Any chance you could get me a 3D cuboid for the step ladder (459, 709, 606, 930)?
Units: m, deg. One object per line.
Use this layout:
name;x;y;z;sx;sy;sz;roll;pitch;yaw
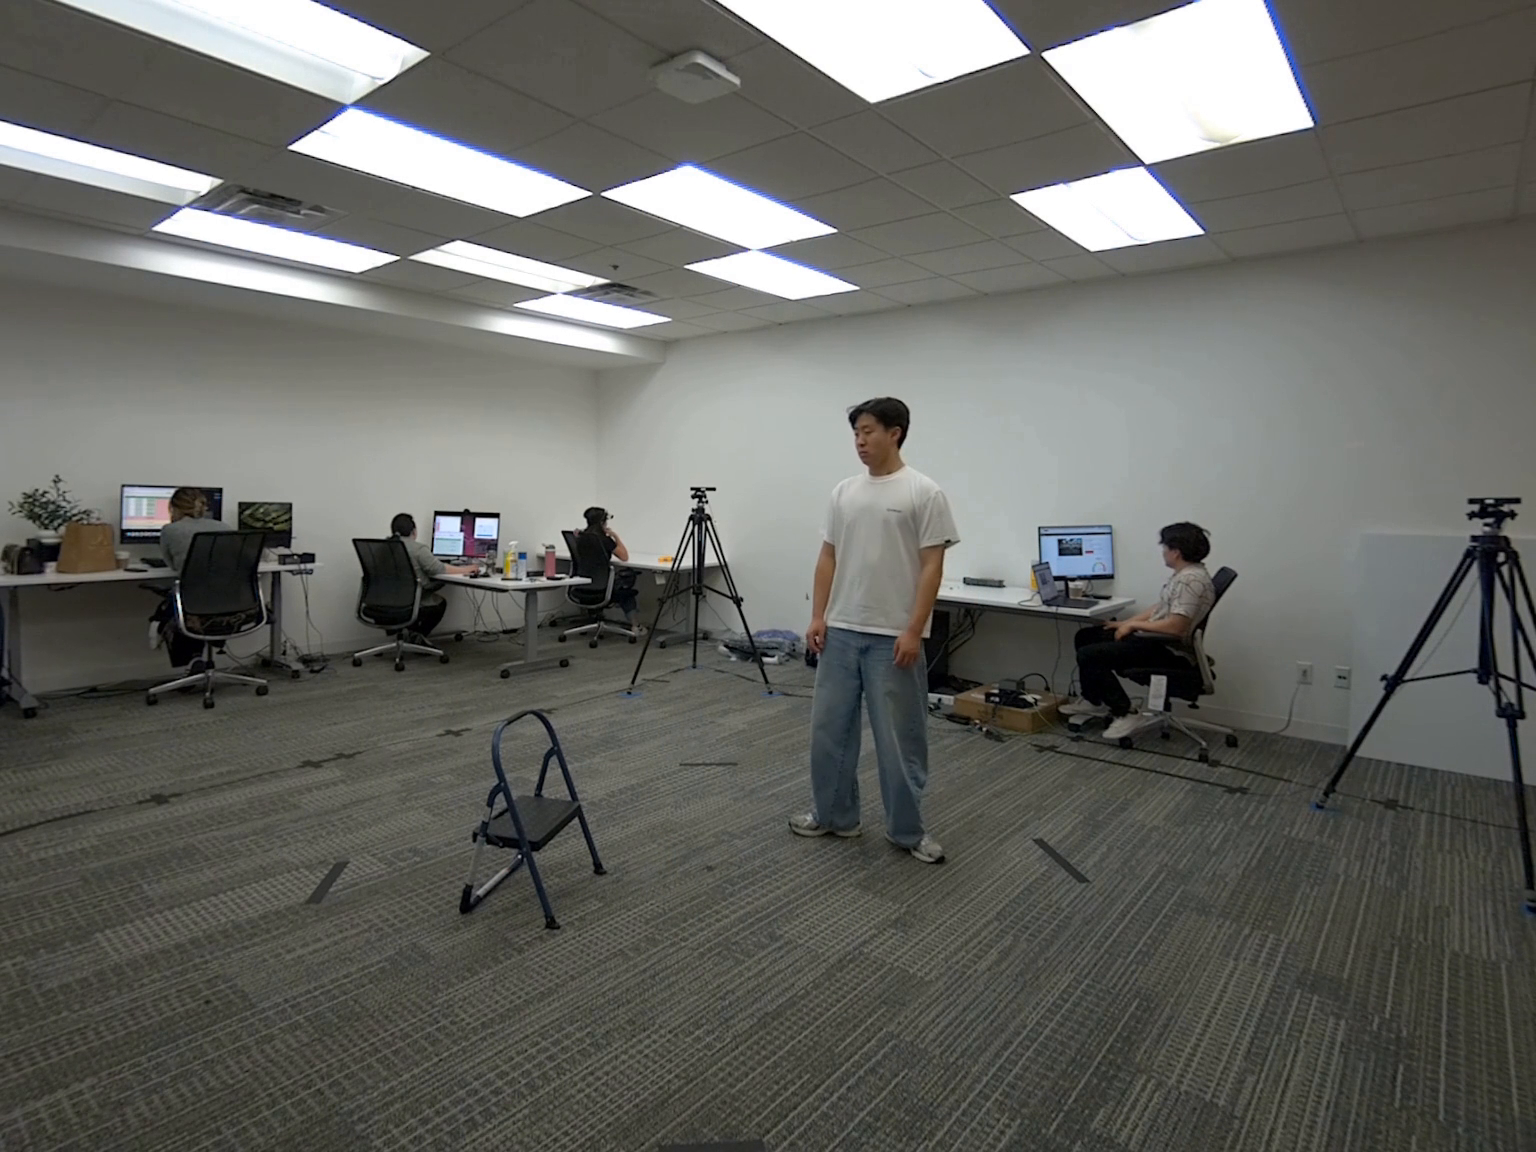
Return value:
step ladder;-0.797;0.774;2.886;0.354;0.604;0.426;2;4;12
